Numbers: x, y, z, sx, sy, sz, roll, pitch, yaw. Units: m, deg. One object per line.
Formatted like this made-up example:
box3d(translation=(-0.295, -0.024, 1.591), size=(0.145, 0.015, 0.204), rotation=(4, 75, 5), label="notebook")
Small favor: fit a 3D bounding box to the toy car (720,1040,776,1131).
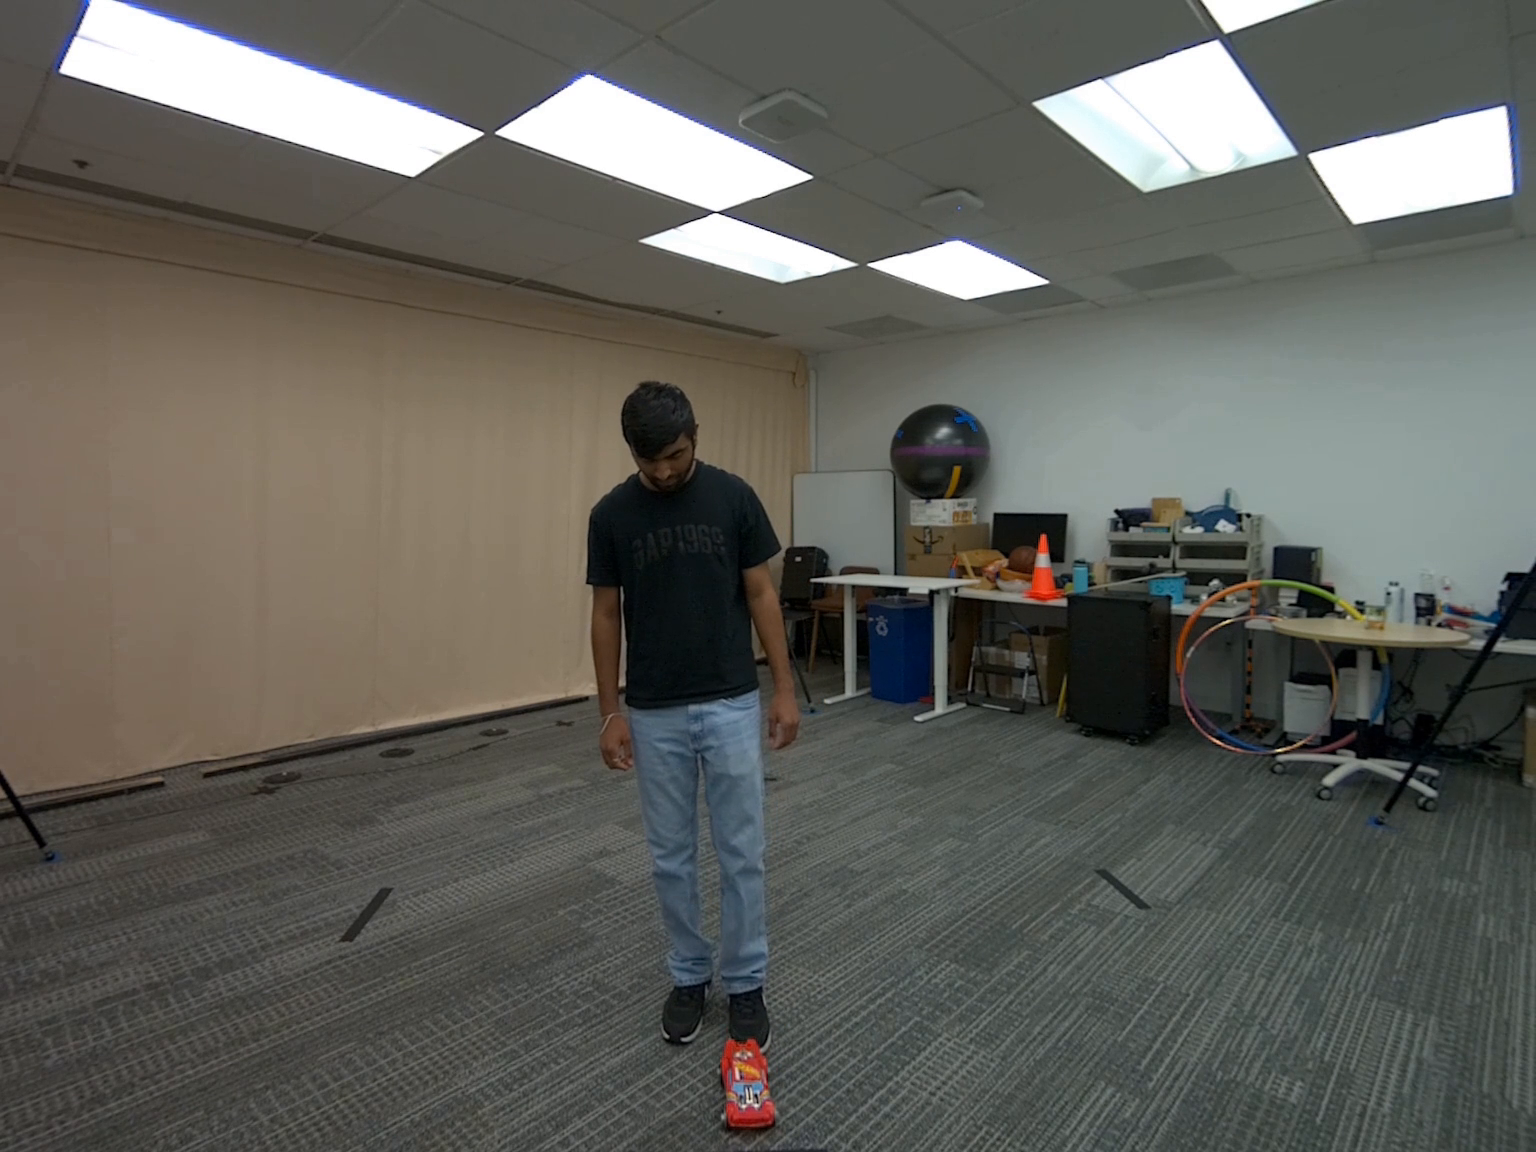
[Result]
box3d(translation=(-0.055, 1.191, 1.989), size=(0.130, 0.082, 0.258), rotation=(-1, 16, -5), label="toy car")
